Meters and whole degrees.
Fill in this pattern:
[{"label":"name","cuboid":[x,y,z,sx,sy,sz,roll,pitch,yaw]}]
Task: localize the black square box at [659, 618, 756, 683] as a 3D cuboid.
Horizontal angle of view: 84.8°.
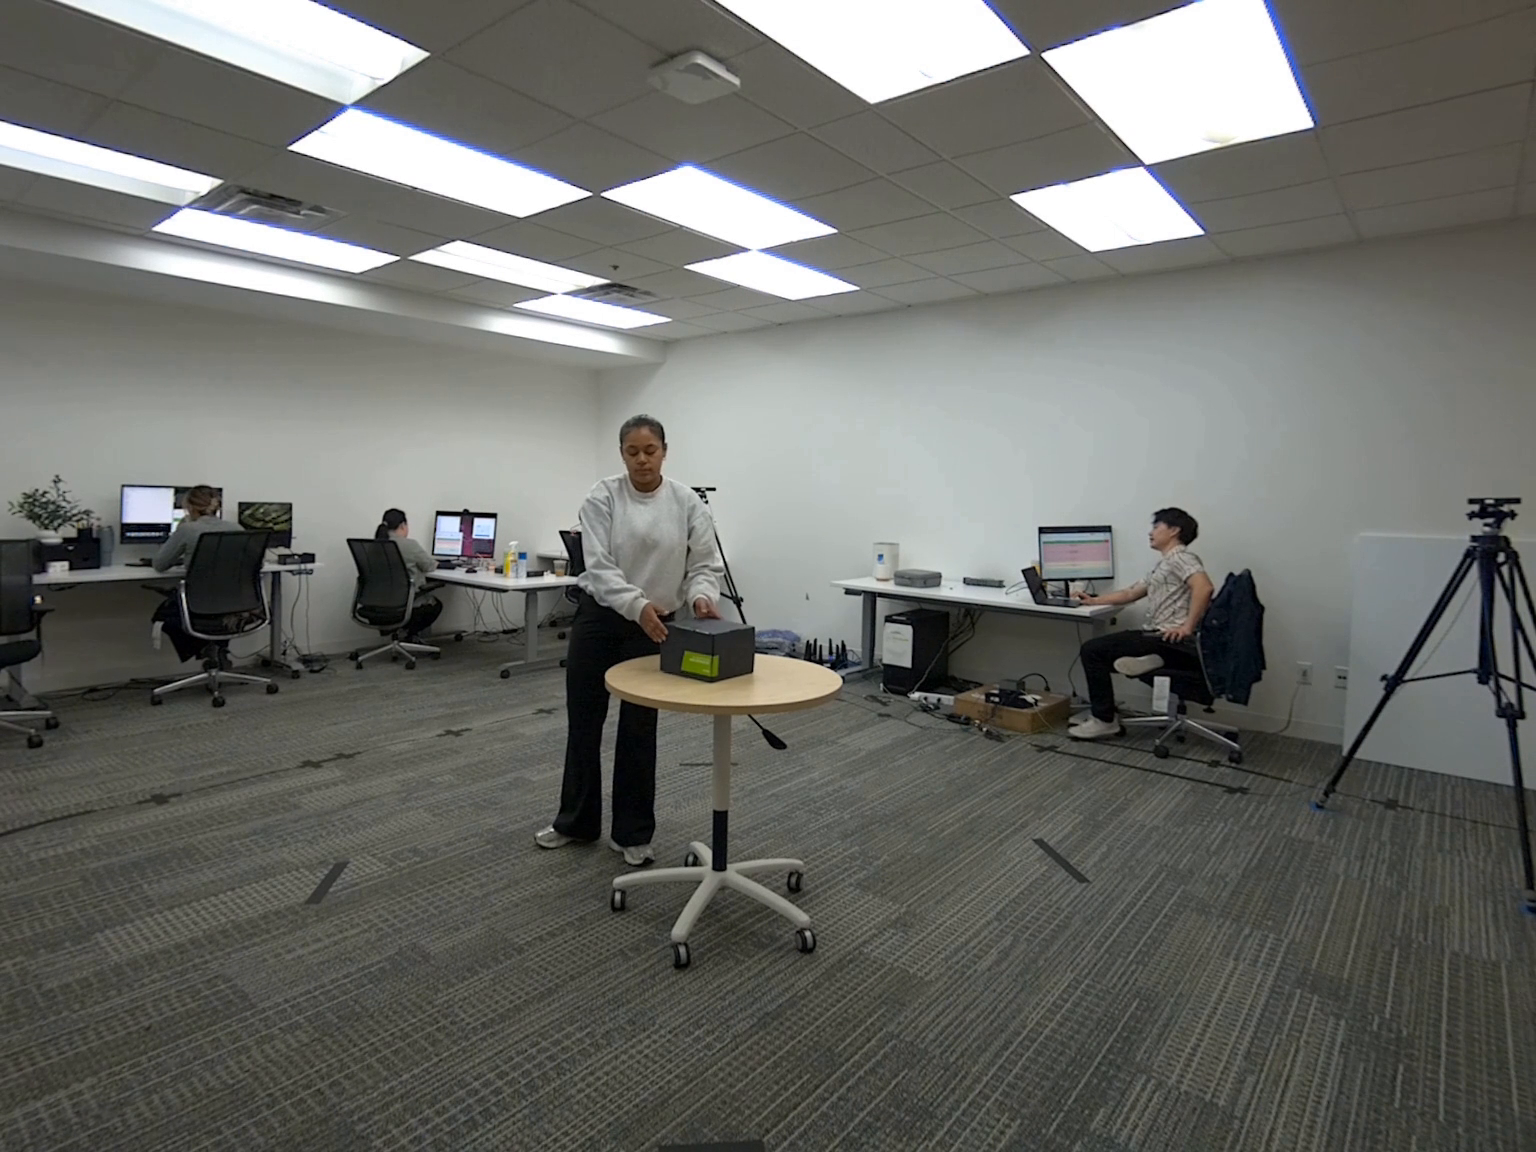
[{"label":"black square box","cuboid":[-0.219,0.227,2.781,0.236,0.155,0.210,9,9,39]}]
